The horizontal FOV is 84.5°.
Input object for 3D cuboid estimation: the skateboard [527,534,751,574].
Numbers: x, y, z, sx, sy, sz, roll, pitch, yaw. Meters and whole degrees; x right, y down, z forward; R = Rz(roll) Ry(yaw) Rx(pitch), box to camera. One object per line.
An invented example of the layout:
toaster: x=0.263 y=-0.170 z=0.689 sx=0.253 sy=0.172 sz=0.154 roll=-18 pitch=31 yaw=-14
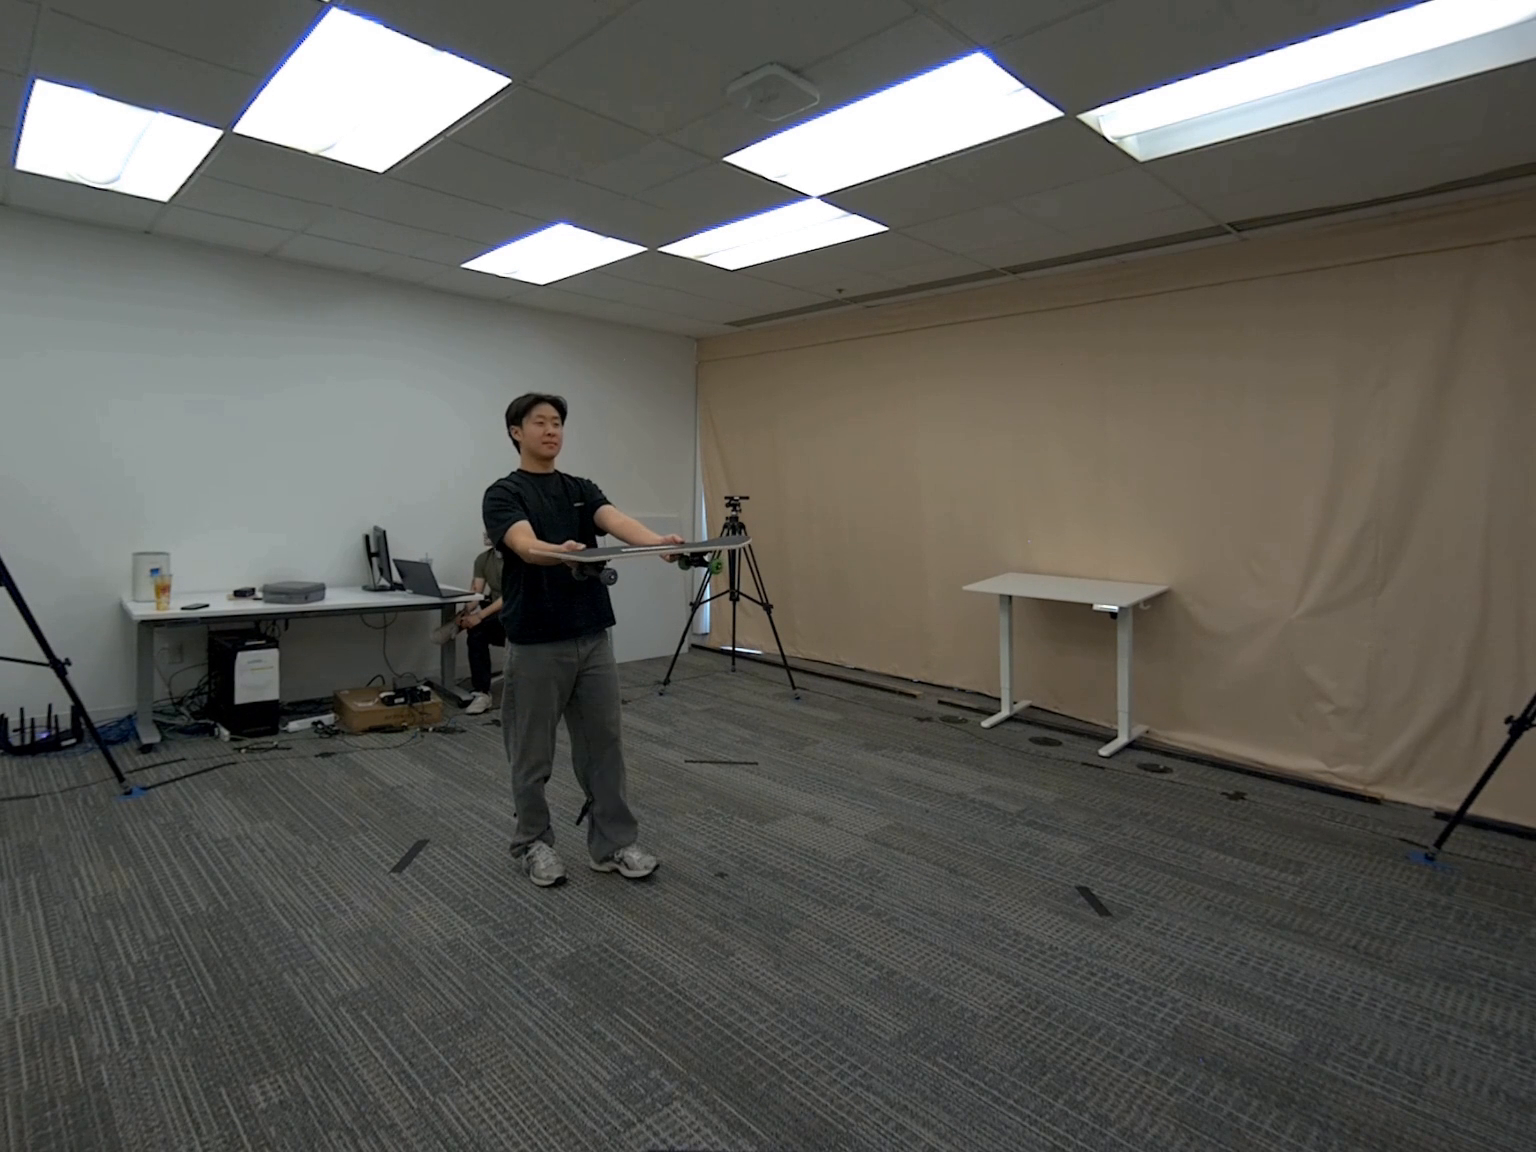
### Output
skateboard: x=-0.374 y=-0.047 z=2.579 sx=0.769 sy=0.110 sz=0.198 roll=-6 pitch=8 yaw=-41
